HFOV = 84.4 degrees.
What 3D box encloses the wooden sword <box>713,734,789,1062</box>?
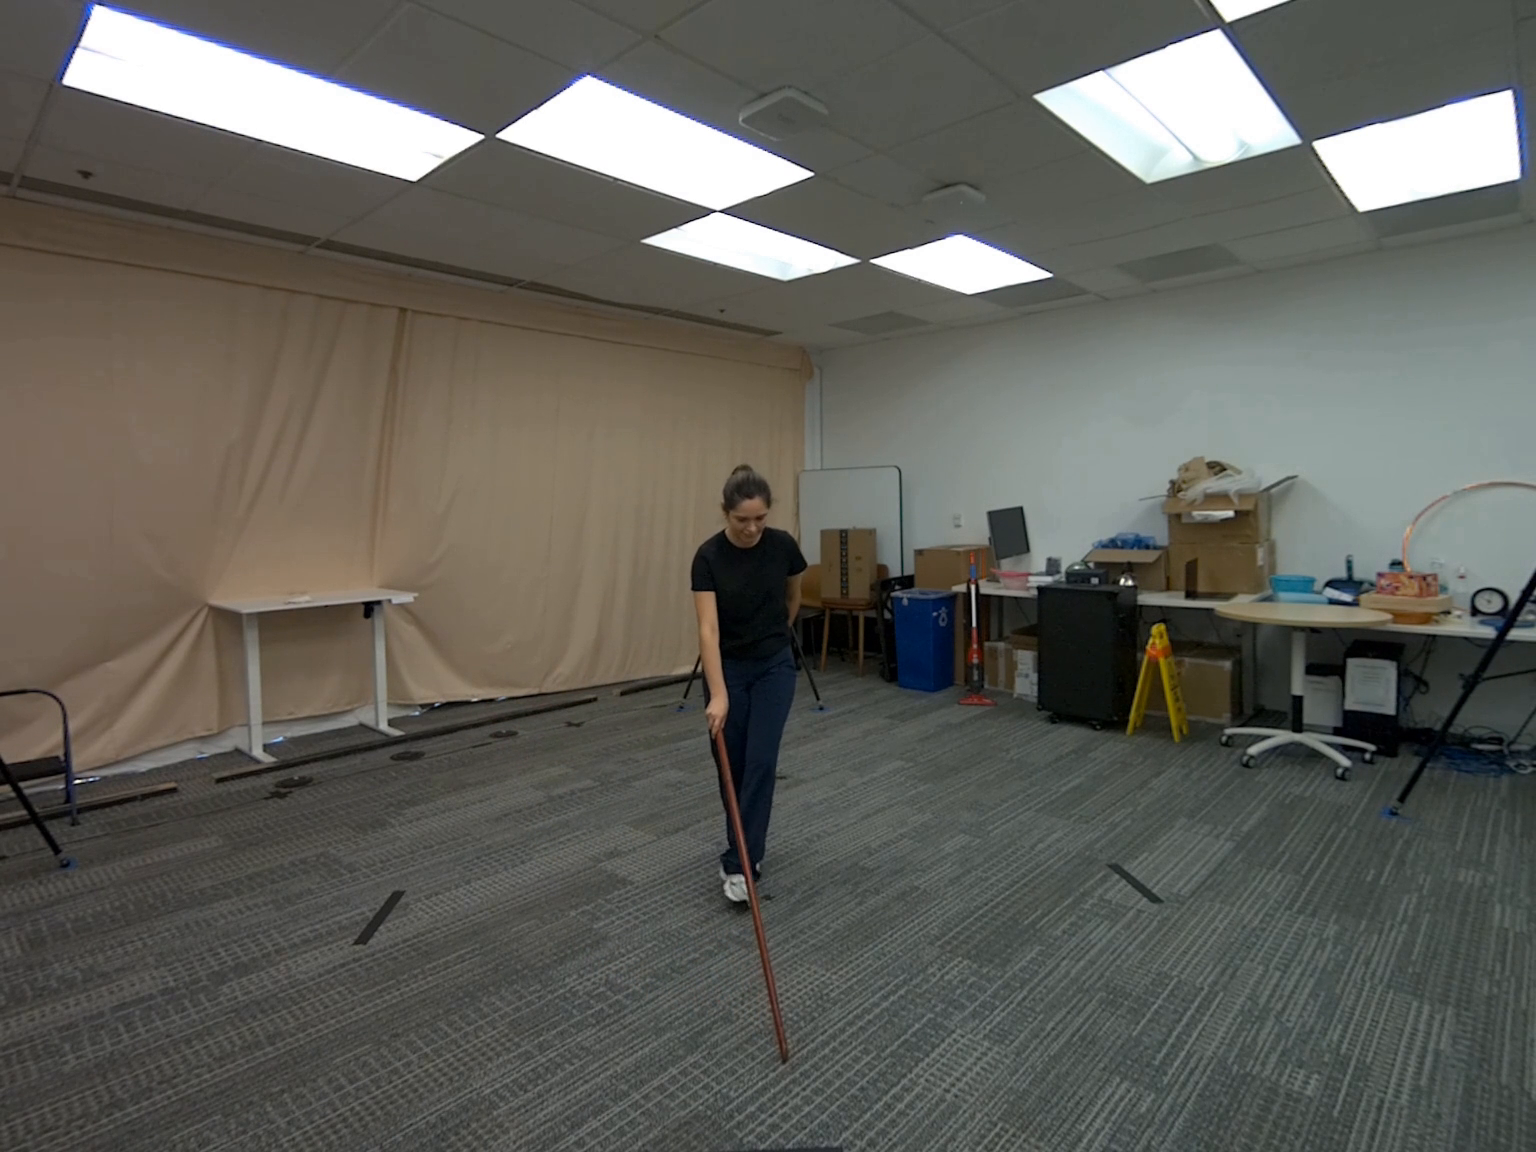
[{"bbox_3d":[-0.049,0.814,2.444,0.023,0.051,1.052,5,44,-22],"label":"wooden sword"}]
